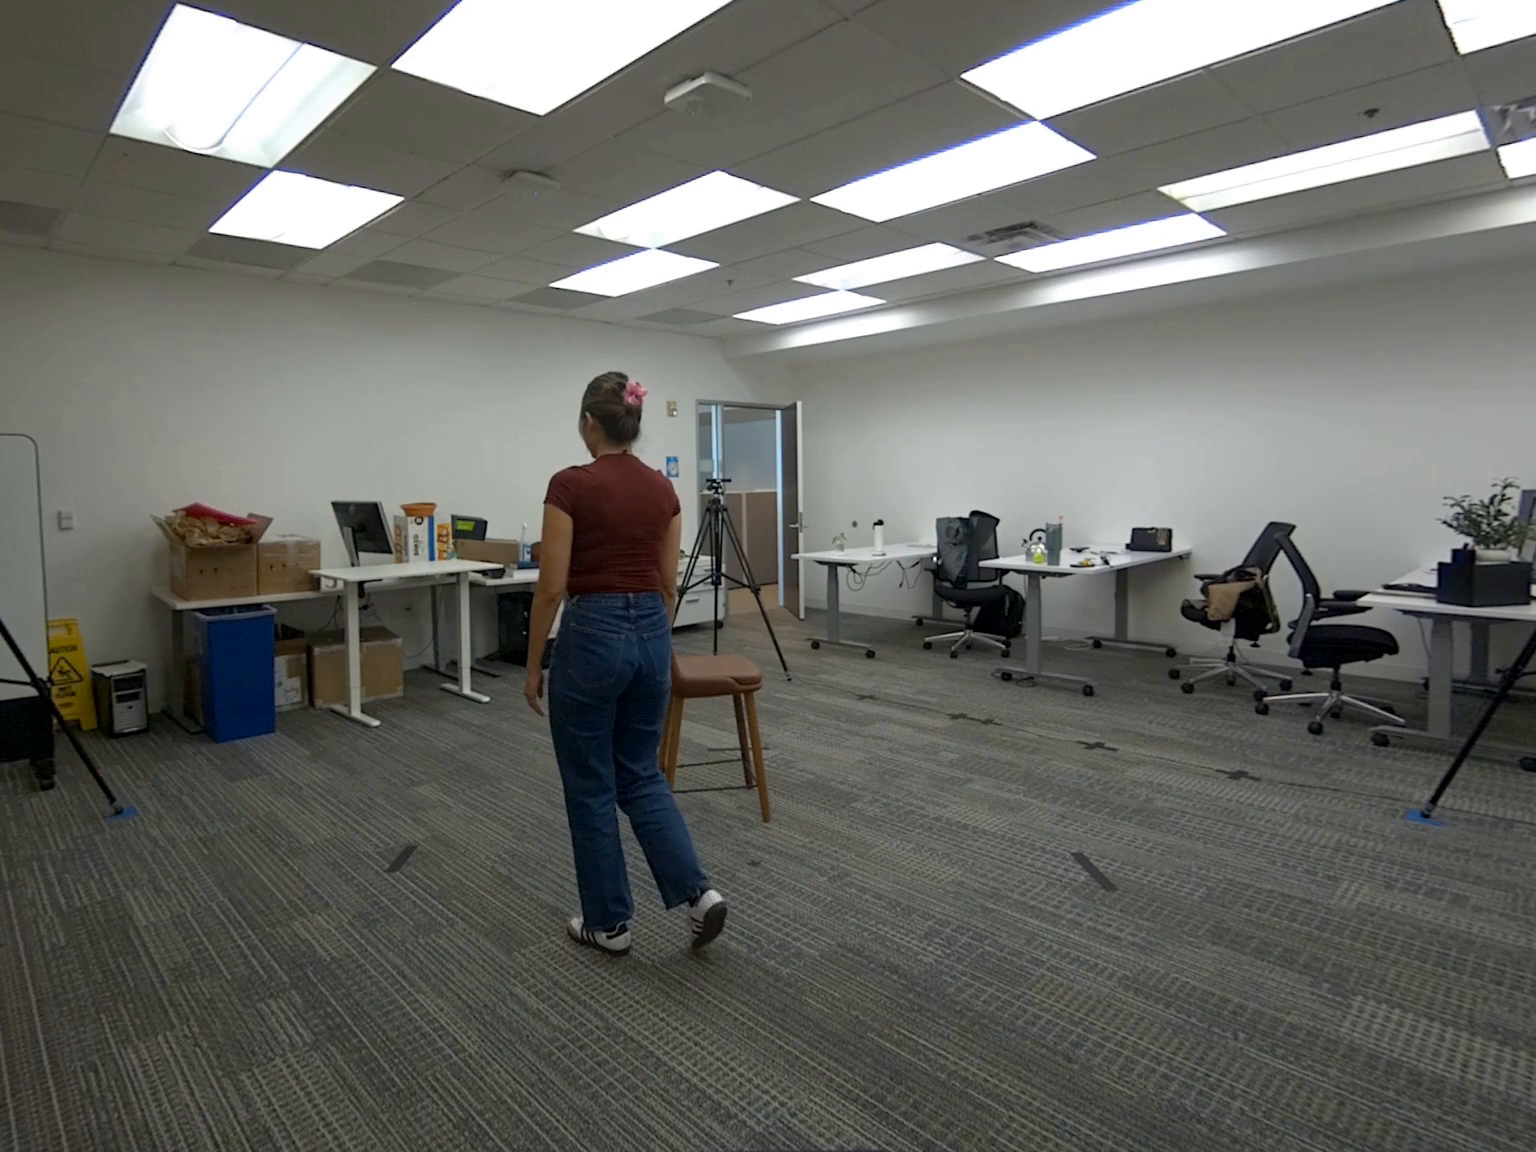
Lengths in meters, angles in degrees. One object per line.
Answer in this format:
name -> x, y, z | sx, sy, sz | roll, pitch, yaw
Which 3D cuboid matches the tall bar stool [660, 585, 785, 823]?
tall bar stool -> -0.264, 0.559, 3.620 | 0.463, 0.887, 0.463 | -3, 4, -11
